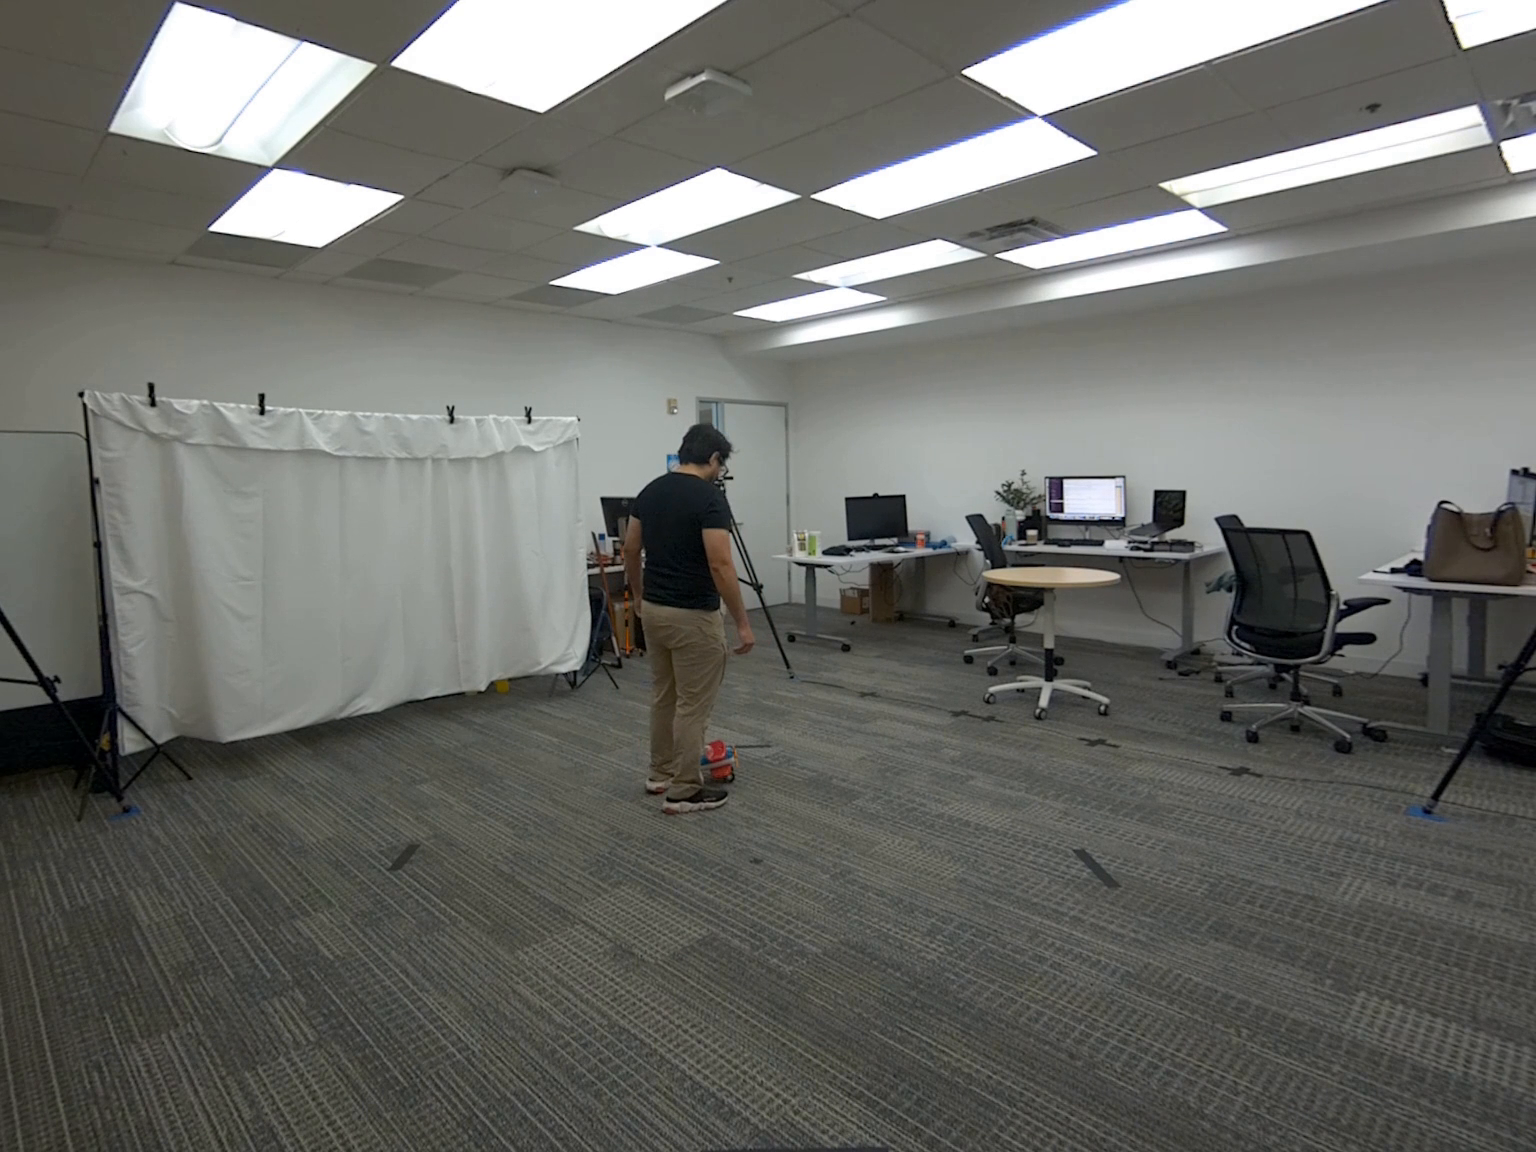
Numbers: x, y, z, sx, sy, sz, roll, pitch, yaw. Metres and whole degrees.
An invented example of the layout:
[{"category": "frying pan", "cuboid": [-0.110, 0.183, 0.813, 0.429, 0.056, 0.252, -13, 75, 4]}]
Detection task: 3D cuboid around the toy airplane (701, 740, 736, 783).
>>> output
[{"category": "toy airplane", "cuboid": [-0.261, 0.870, 3.937, 0.253, 0.156, 0.258, -4, 6, -32]}]
